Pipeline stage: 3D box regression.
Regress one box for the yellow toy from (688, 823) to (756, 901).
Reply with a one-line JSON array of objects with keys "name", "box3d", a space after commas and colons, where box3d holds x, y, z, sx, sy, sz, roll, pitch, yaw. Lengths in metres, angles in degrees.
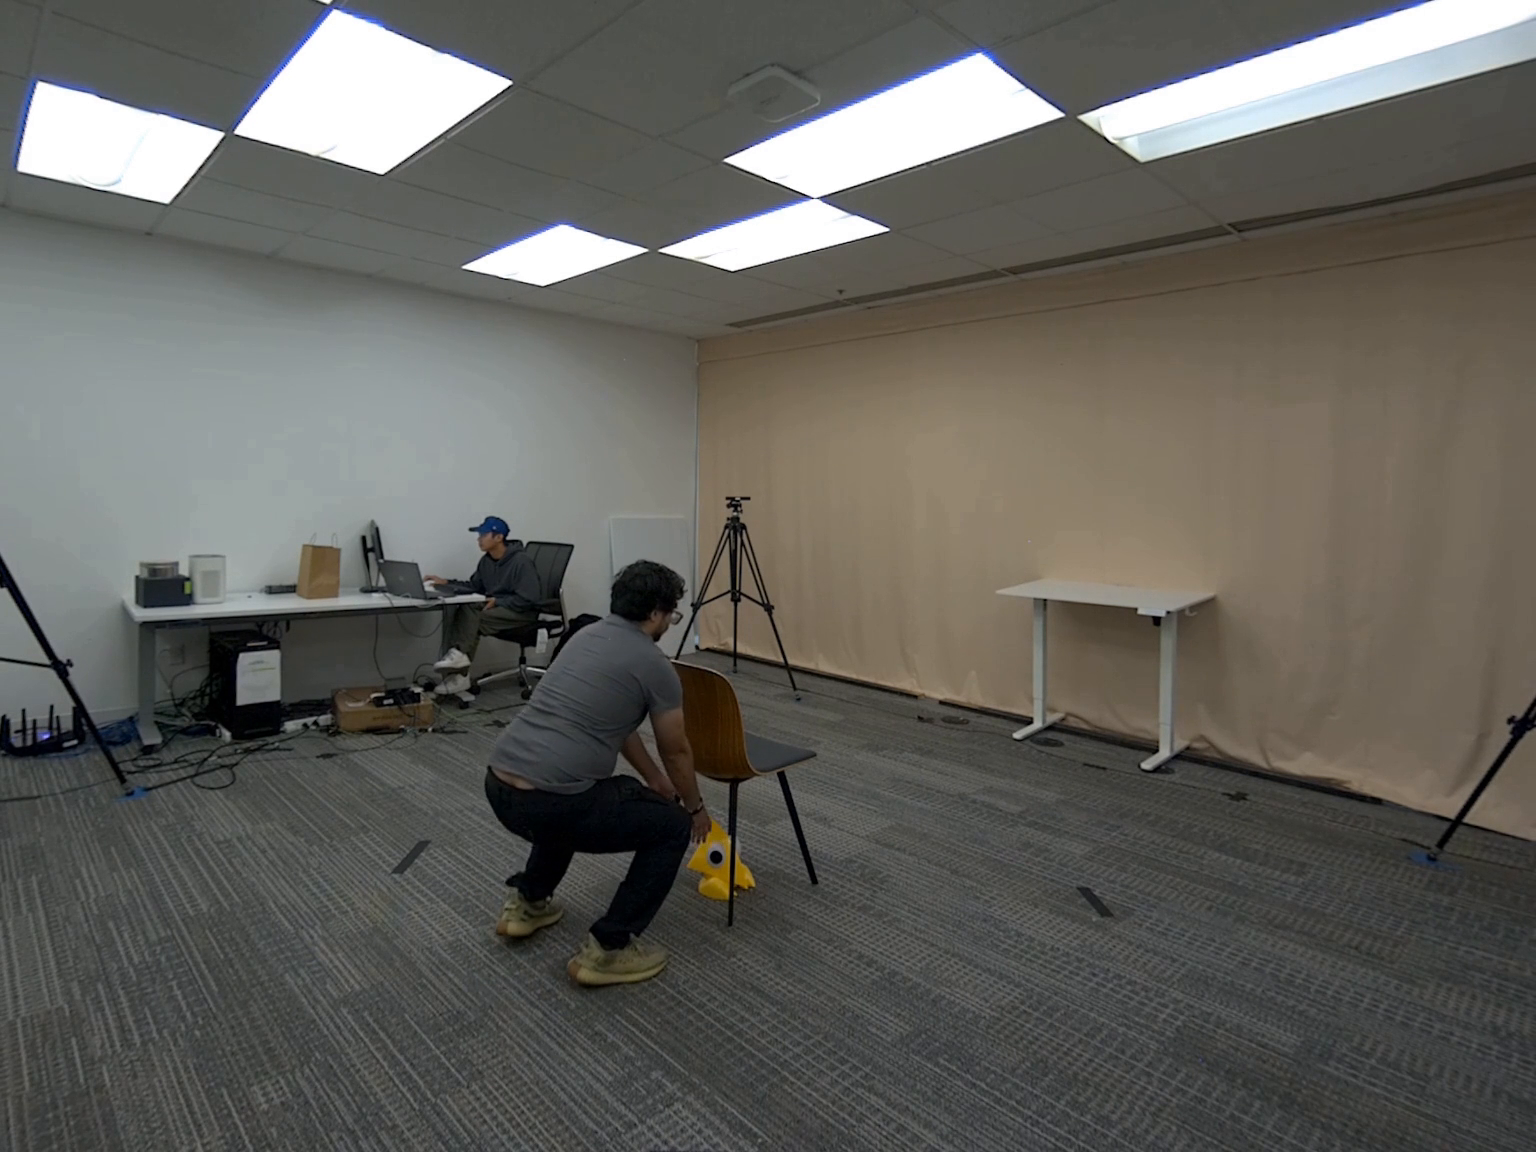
[{"name": "yellow toy", "box3d": [-0.167, 1.000, 3.016, 0.198, 0.230, 0.200, 3, 4, 37]}]
